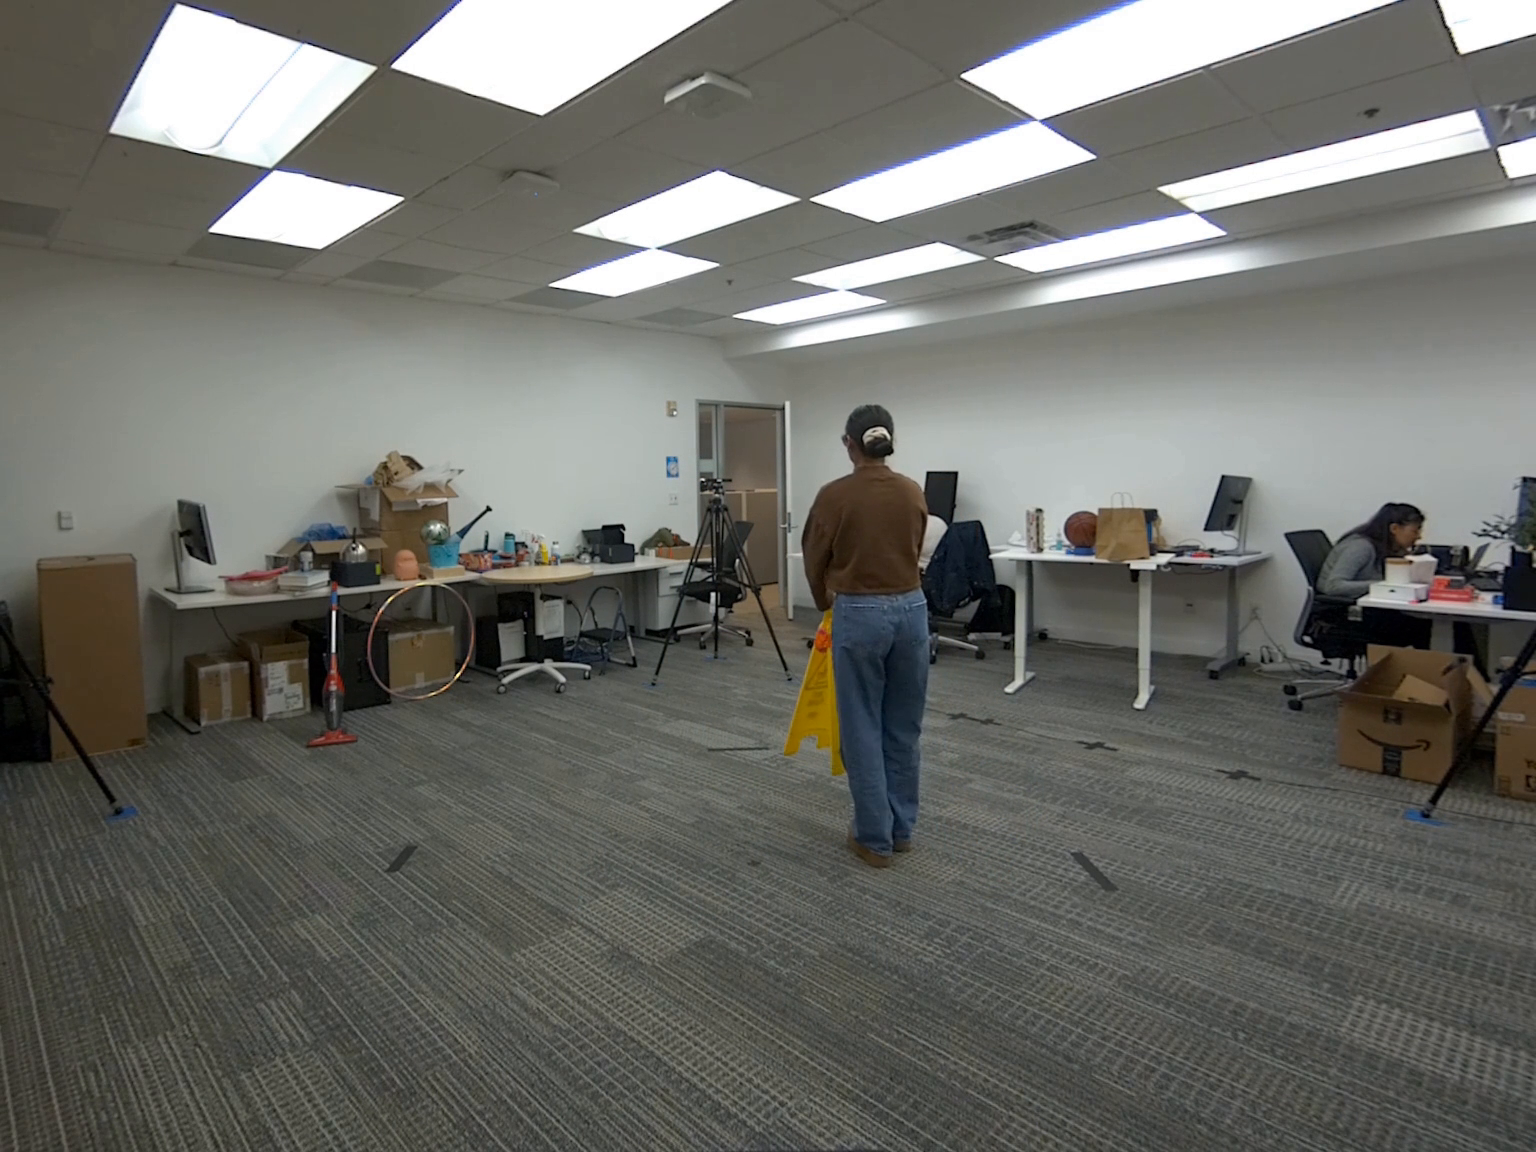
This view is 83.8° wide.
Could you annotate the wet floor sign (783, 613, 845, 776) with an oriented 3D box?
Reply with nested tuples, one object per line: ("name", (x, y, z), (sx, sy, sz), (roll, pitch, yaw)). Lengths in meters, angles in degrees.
("wet floor sign", (0.290, 0.437, 3.483), (0.274, 0.644, 0.299), (1, 6, -44))
